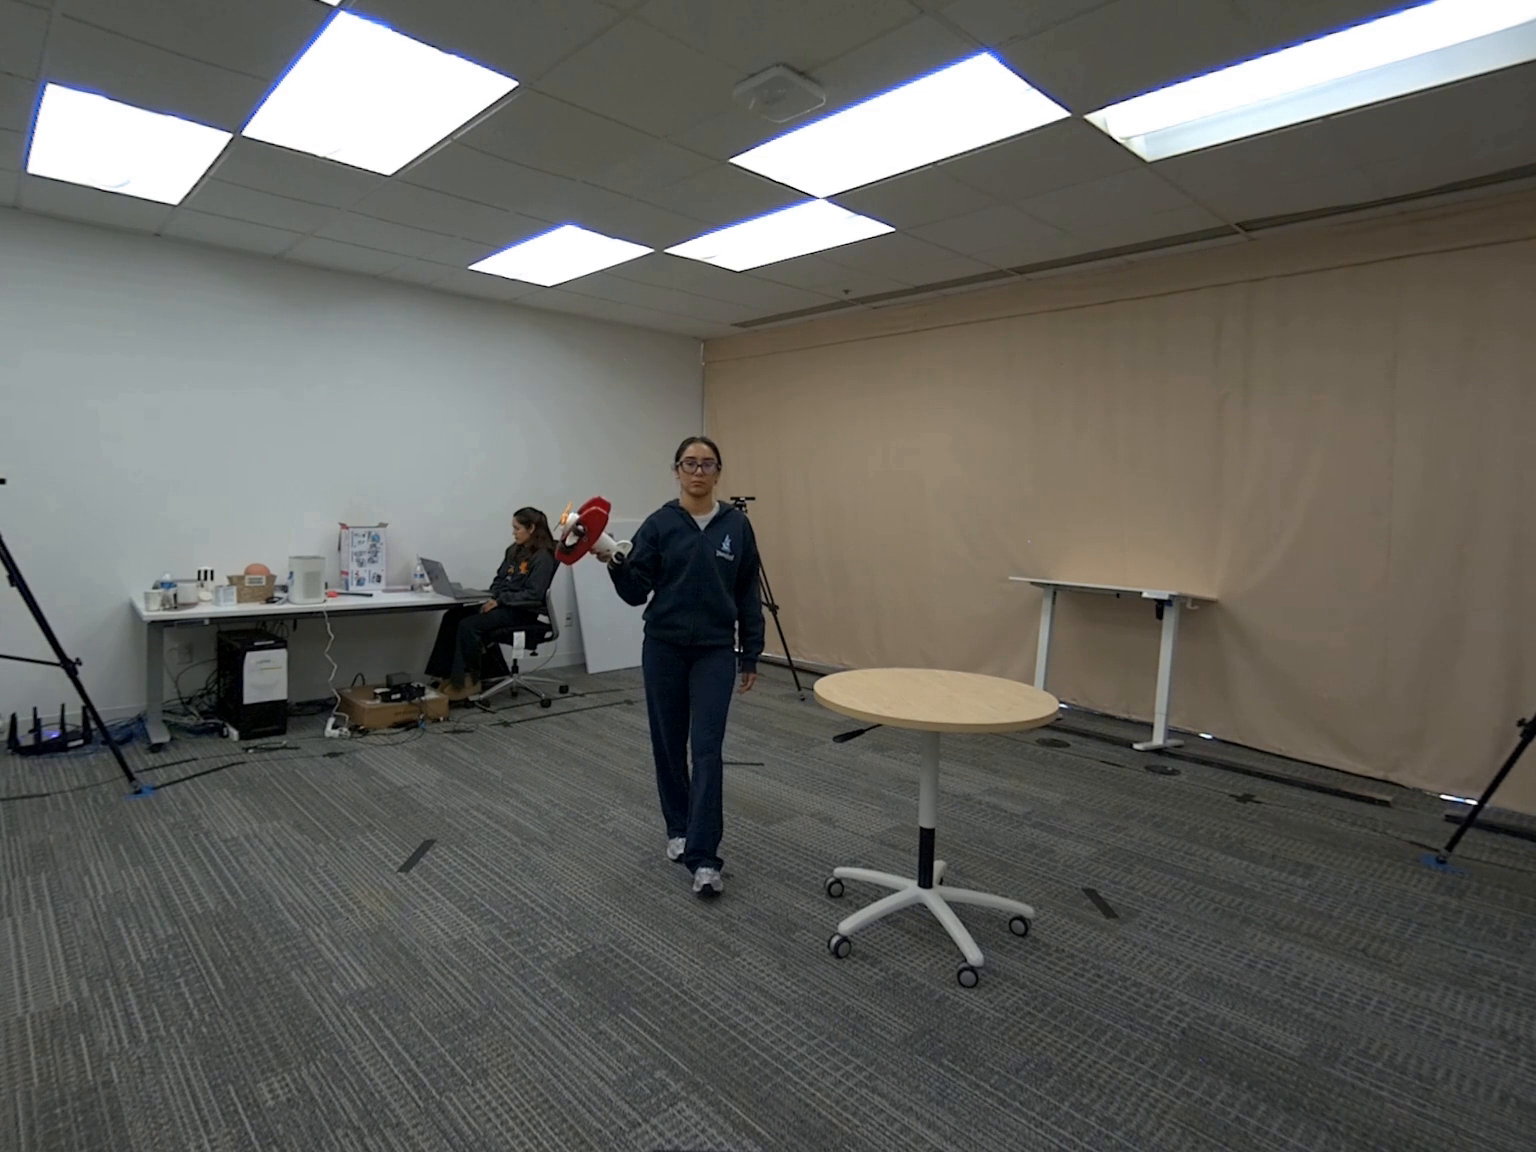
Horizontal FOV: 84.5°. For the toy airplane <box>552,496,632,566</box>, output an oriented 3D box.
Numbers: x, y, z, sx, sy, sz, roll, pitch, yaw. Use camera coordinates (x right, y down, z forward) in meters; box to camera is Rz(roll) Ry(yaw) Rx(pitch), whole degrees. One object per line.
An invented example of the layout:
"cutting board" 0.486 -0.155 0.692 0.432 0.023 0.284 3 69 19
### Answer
"toy airplane" -0.618 -0.115 2.899 0.251 0.251 0.161 -25 42 5
